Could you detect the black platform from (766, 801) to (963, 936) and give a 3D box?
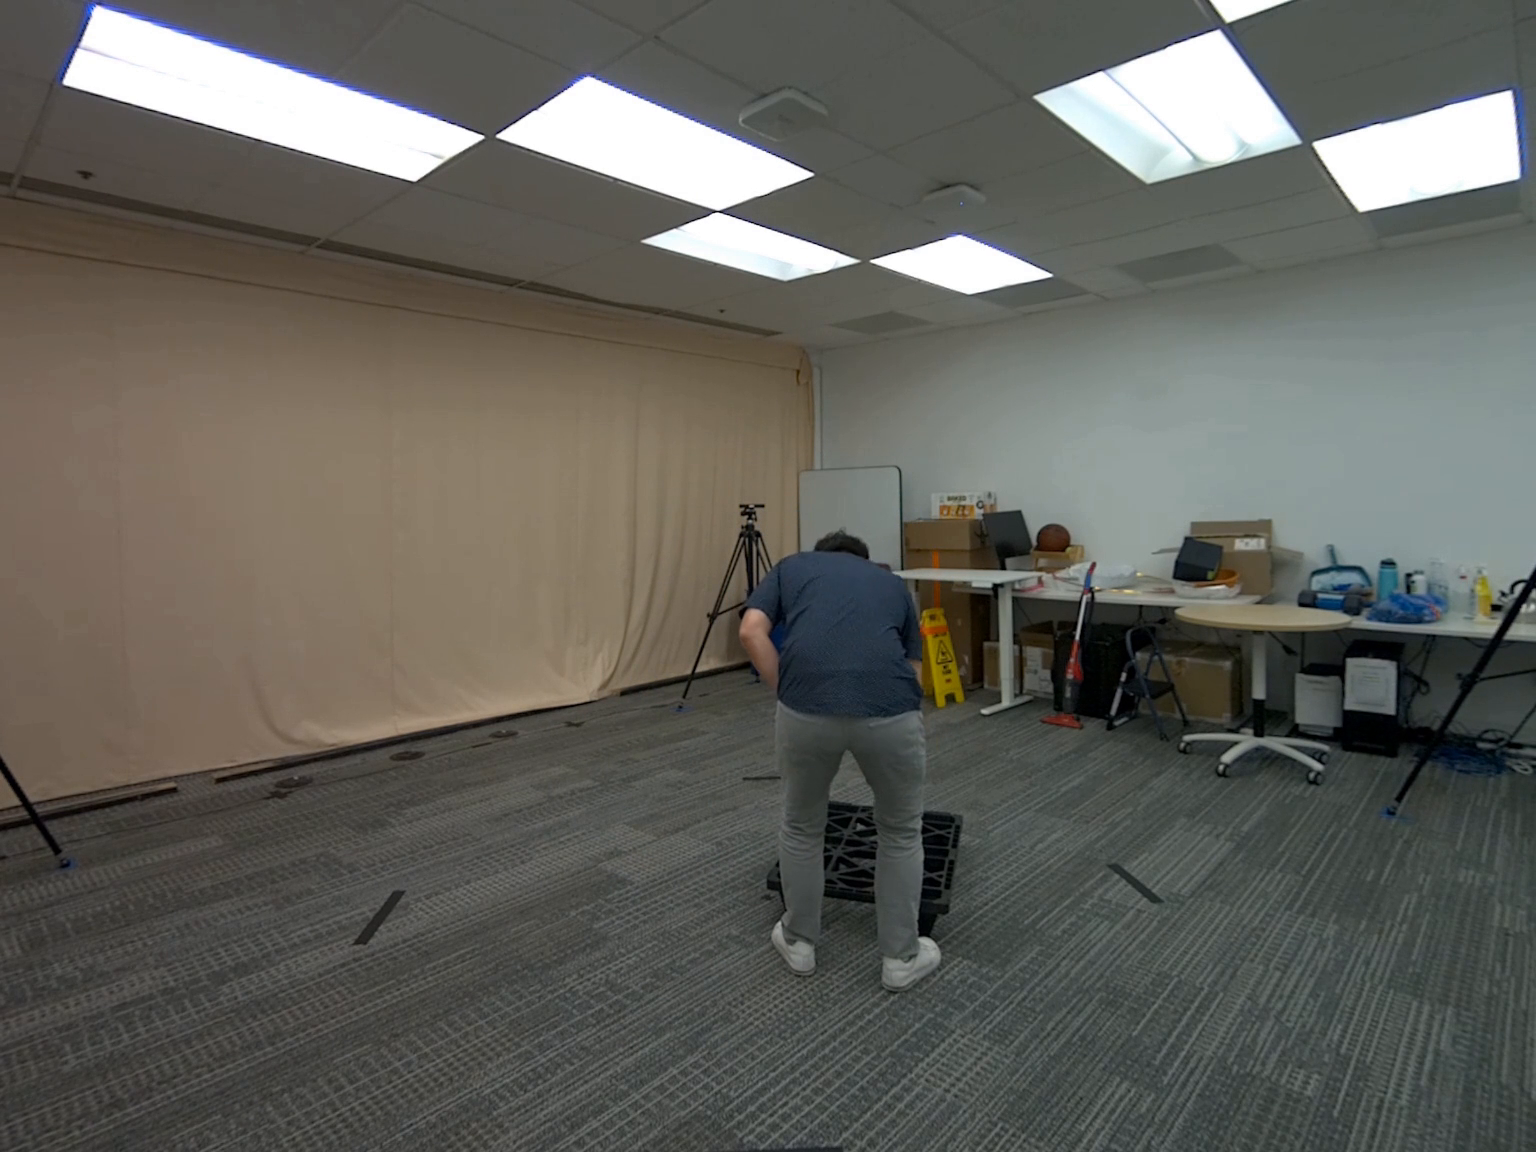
[{"bbox_3d":[0.391,1.053,3.108,0.617,0.143,0.792,1,6,17],"label":"black platform"}]
